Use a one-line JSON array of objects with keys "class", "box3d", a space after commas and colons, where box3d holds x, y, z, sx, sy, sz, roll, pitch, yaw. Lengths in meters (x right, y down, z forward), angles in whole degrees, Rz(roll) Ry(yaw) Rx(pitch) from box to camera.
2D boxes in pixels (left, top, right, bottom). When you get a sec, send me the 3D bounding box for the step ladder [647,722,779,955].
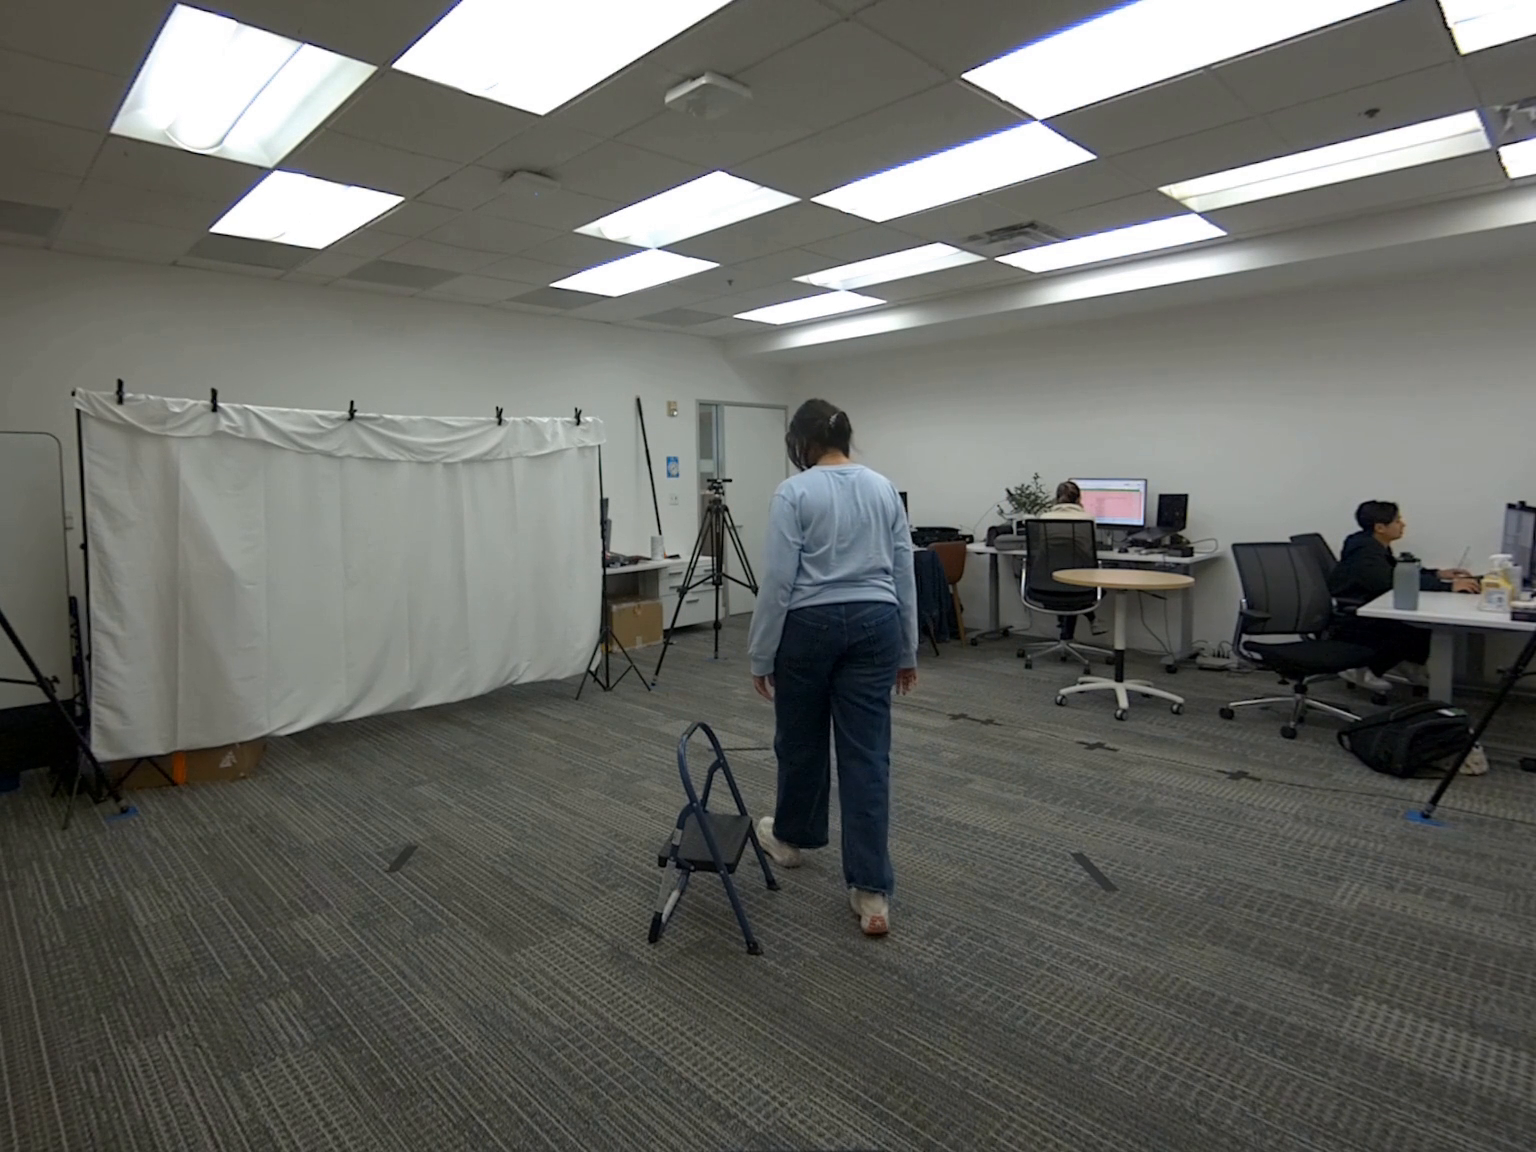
[{"class": "step ladder", "box3d": [-0.163, 0.791, 2.726, 0.353, 0.604, 0.428, 1, 5, 10]}]
